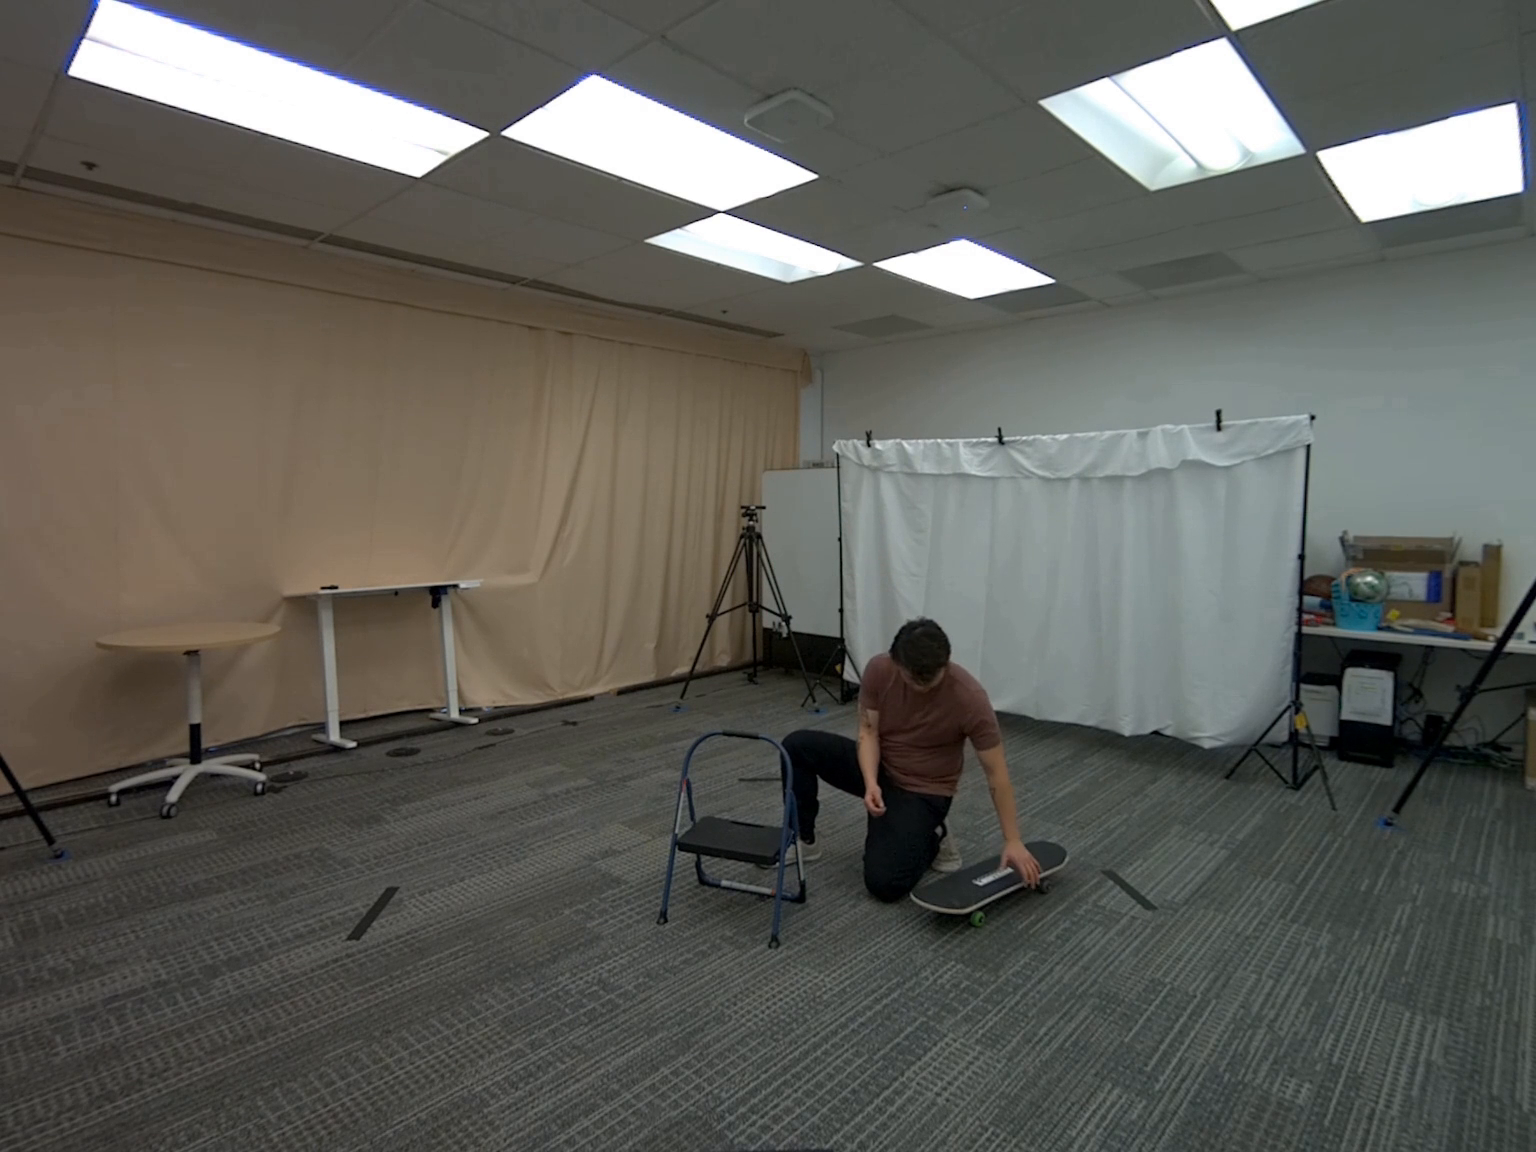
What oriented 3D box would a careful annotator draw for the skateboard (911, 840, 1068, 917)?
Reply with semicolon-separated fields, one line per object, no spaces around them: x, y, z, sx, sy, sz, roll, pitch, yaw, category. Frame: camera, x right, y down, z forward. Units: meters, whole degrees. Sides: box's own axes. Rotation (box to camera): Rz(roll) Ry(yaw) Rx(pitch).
0.796;1.087;2.957;0.762;0.110;0.200;-3;6;-38;skateboard
